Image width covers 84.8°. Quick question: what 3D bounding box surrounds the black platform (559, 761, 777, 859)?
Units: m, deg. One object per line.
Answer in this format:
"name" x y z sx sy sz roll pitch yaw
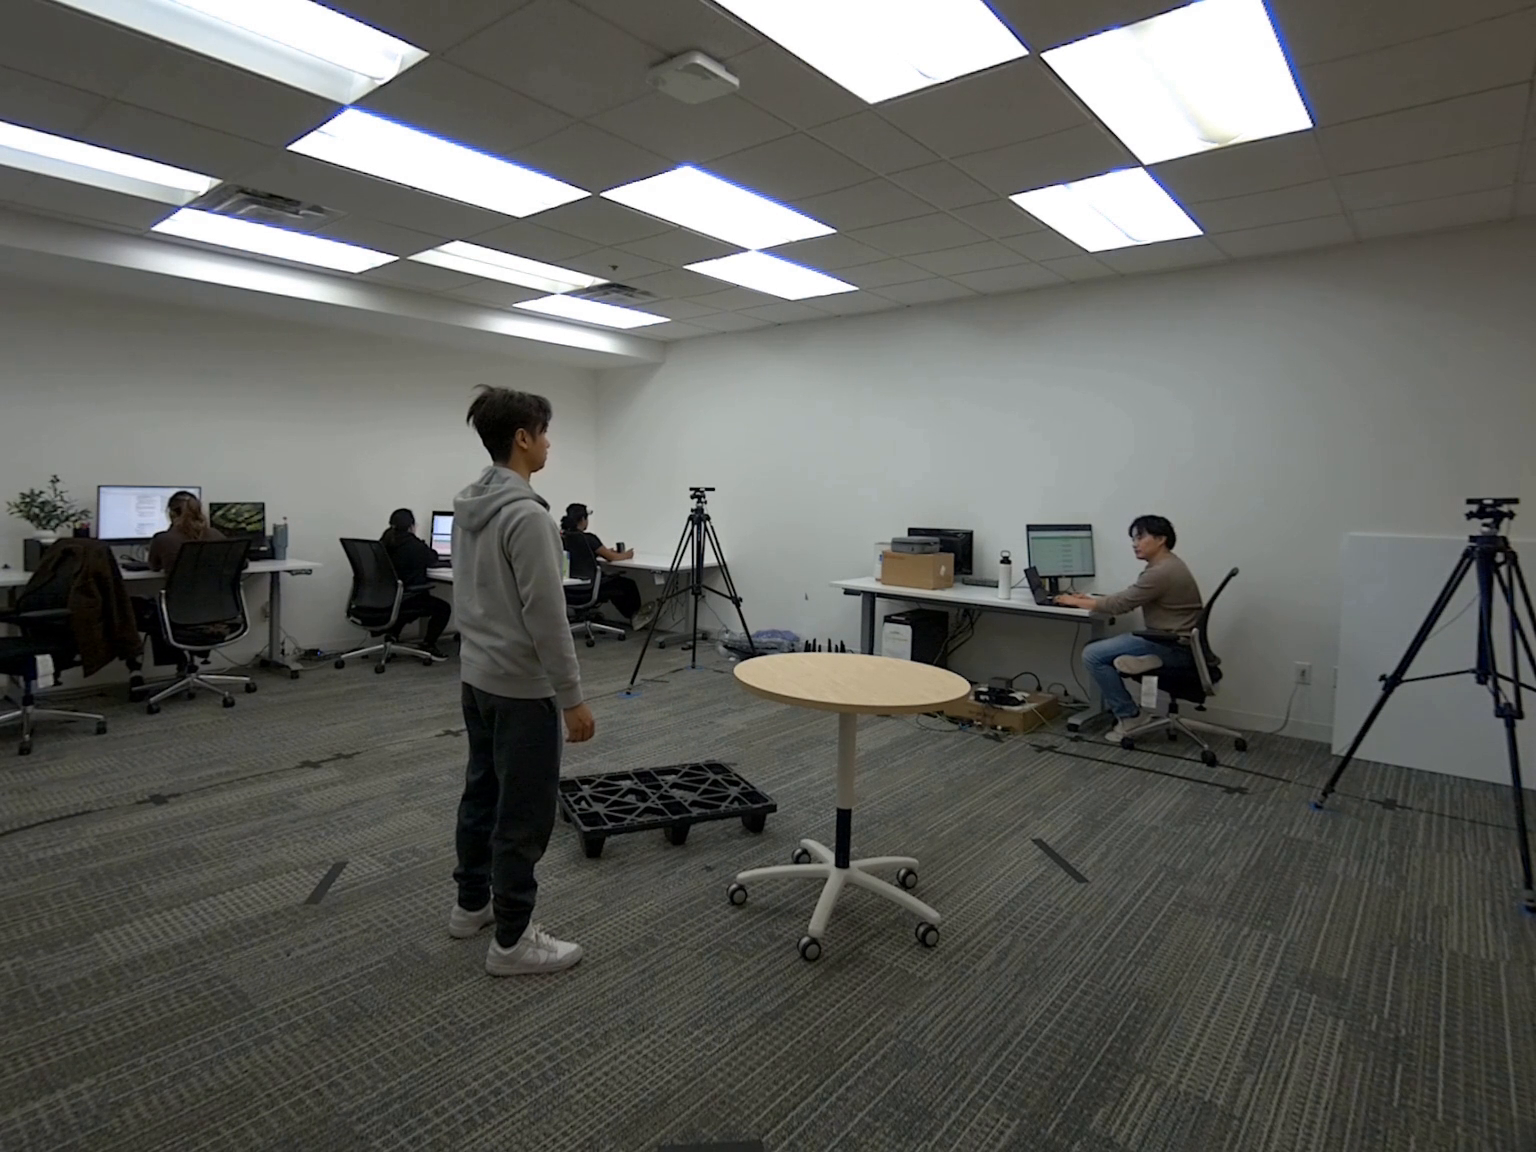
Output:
"black platform" -0.453 0.954 3.528 0.787 0.142 0.622 -2 7 -24
